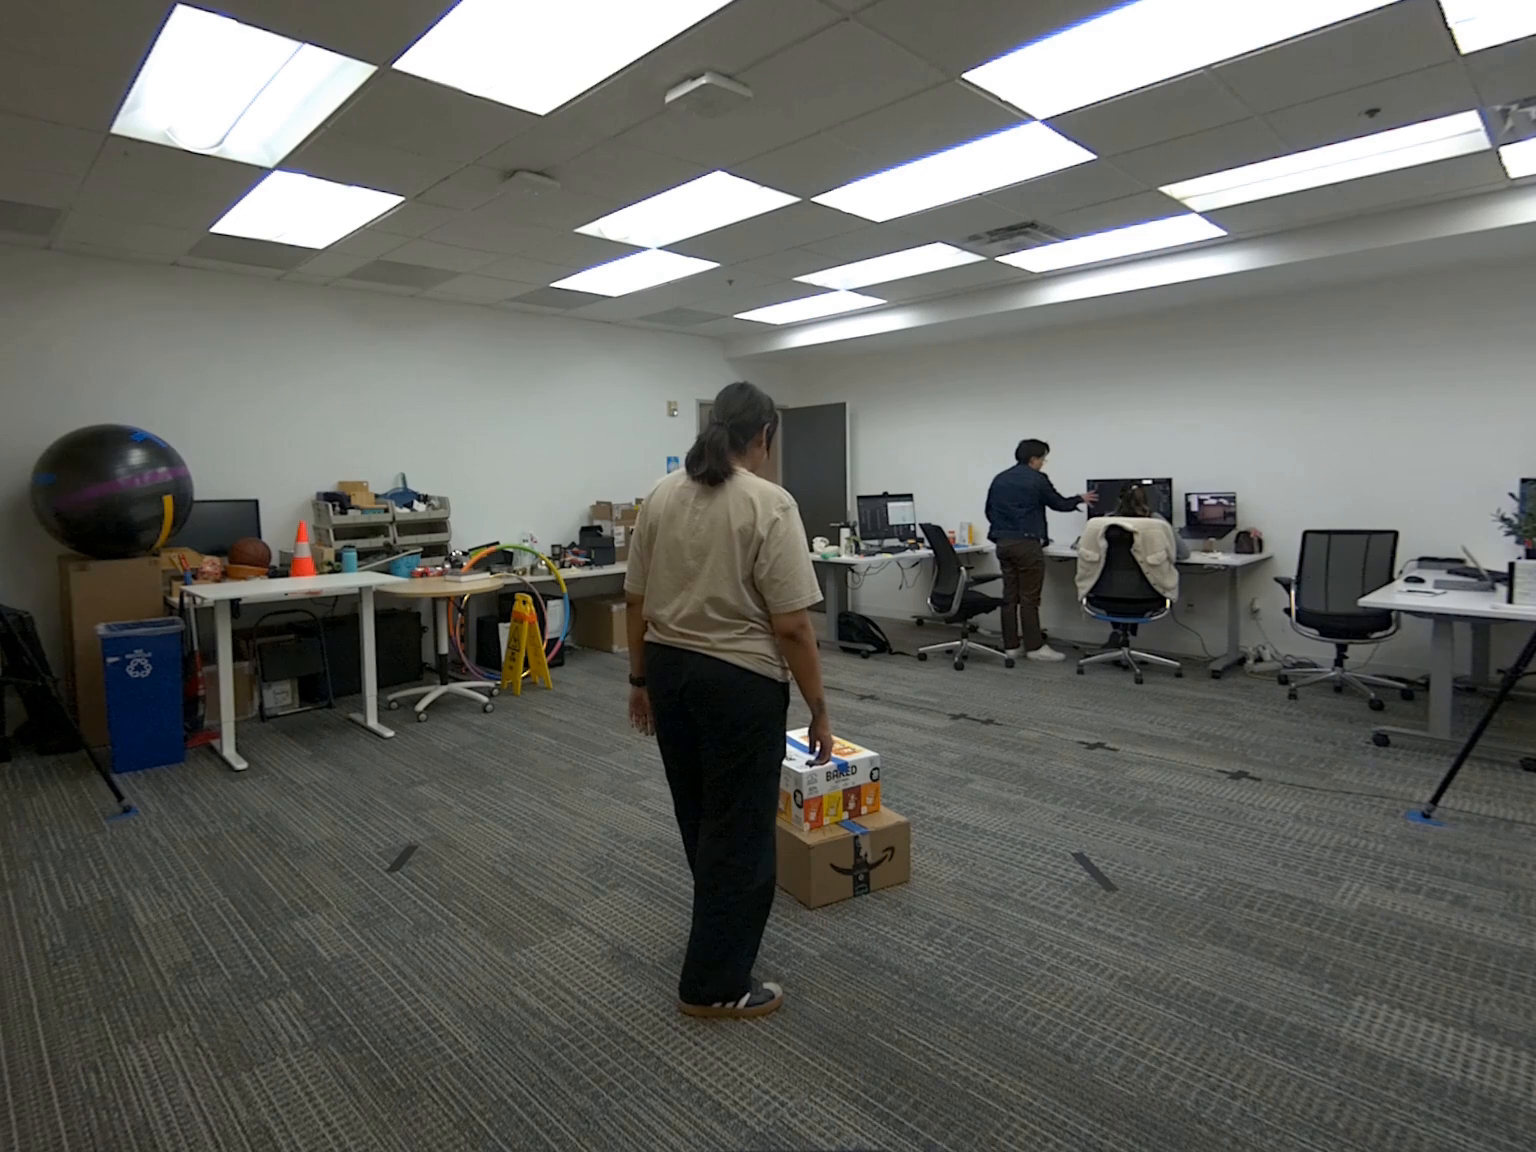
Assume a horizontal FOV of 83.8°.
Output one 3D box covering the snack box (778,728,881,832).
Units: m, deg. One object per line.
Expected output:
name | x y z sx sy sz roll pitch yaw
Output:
snack box | 0.145 0.727 3.111 0.332 0.205 0.417 -5 7 -32
